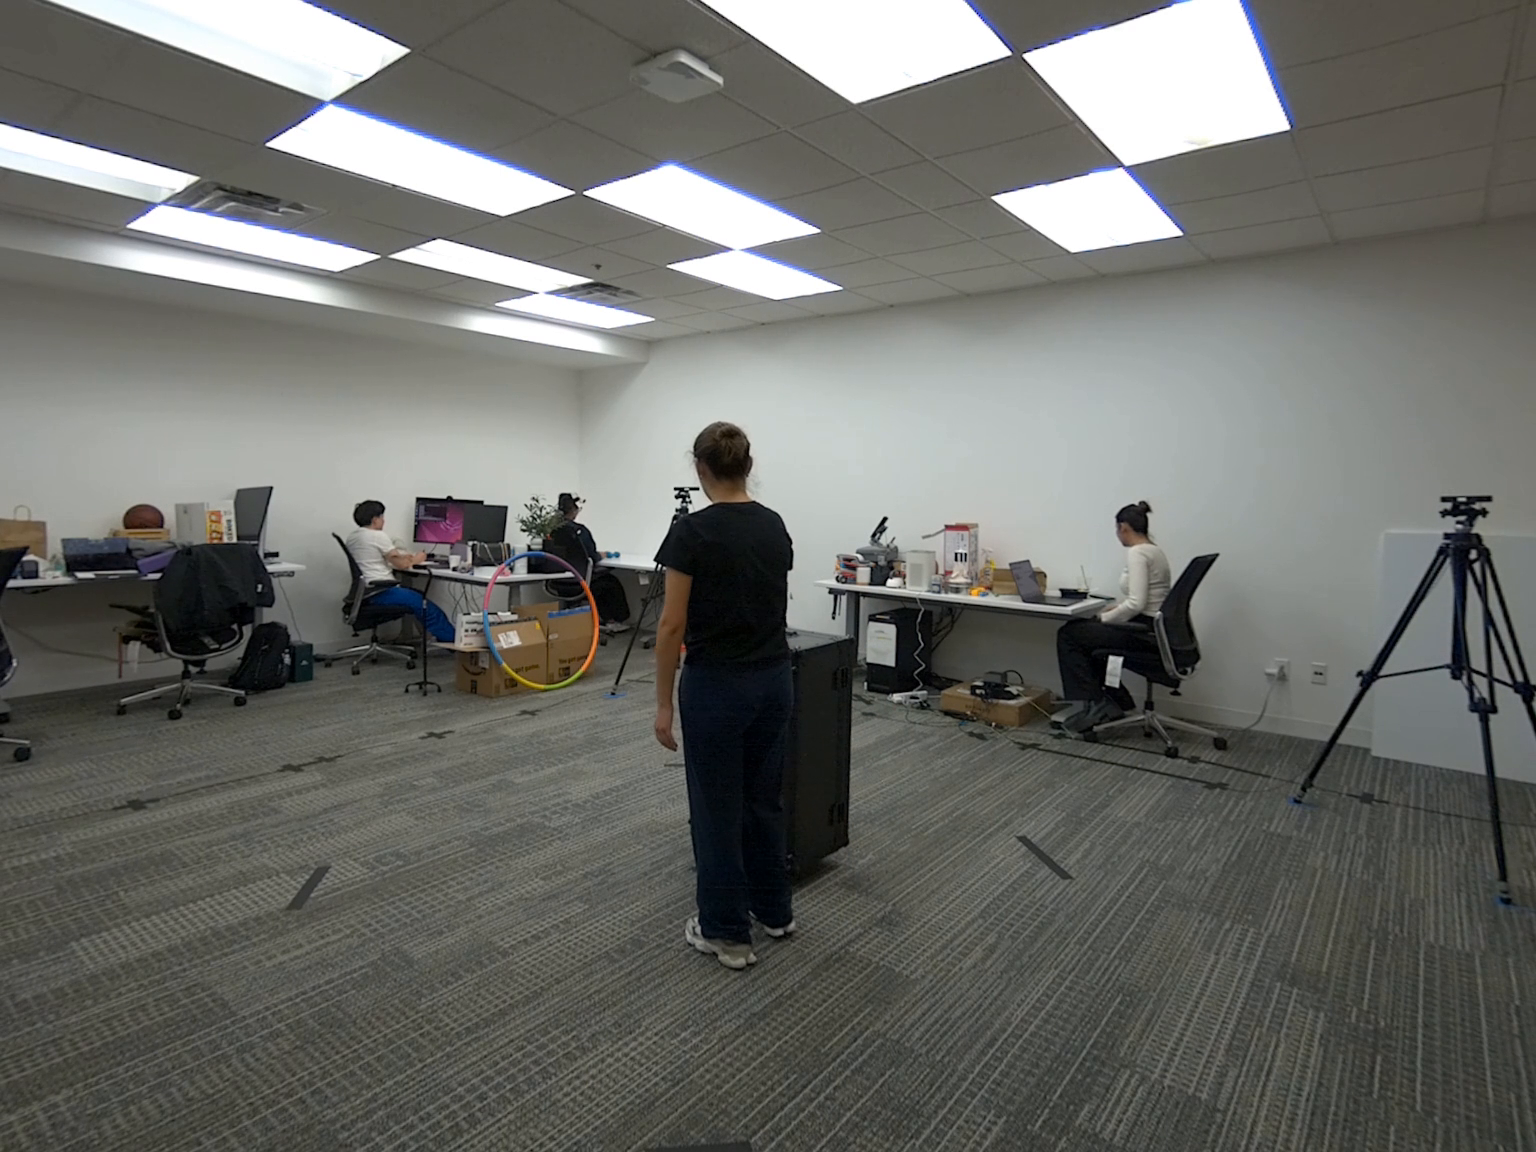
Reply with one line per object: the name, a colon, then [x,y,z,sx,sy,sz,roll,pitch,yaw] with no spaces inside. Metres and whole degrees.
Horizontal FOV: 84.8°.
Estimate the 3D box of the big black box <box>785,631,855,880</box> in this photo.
big black box: [0.031,0.637,3.175,0.539,0.858,0.385,4,5,39]
